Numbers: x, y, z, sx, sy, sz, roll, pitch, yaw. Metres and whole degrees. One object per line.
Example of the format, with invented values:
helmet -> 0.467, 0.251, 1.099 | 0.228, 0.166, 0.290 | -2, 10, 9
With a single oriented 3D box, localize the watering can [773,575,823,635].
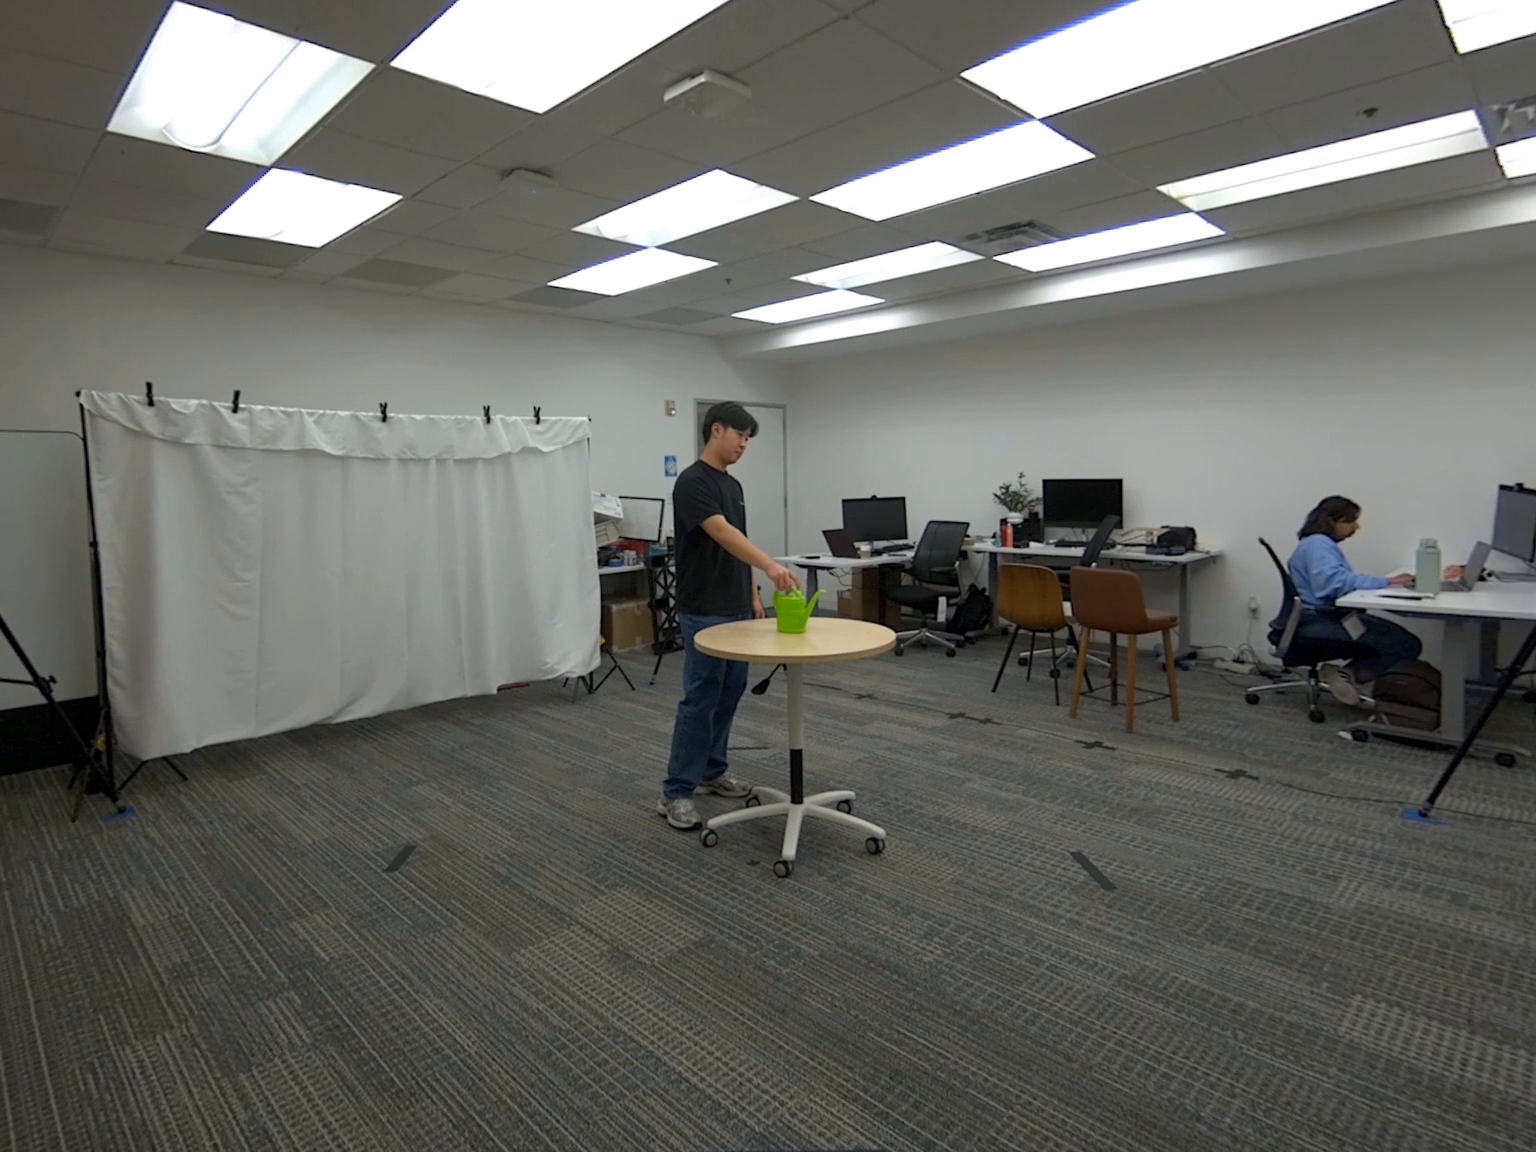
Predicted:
watering can -> 0.111, 0.132, 3.296 | 0.096, 0.176, 0.285 | -4, 5, -27
